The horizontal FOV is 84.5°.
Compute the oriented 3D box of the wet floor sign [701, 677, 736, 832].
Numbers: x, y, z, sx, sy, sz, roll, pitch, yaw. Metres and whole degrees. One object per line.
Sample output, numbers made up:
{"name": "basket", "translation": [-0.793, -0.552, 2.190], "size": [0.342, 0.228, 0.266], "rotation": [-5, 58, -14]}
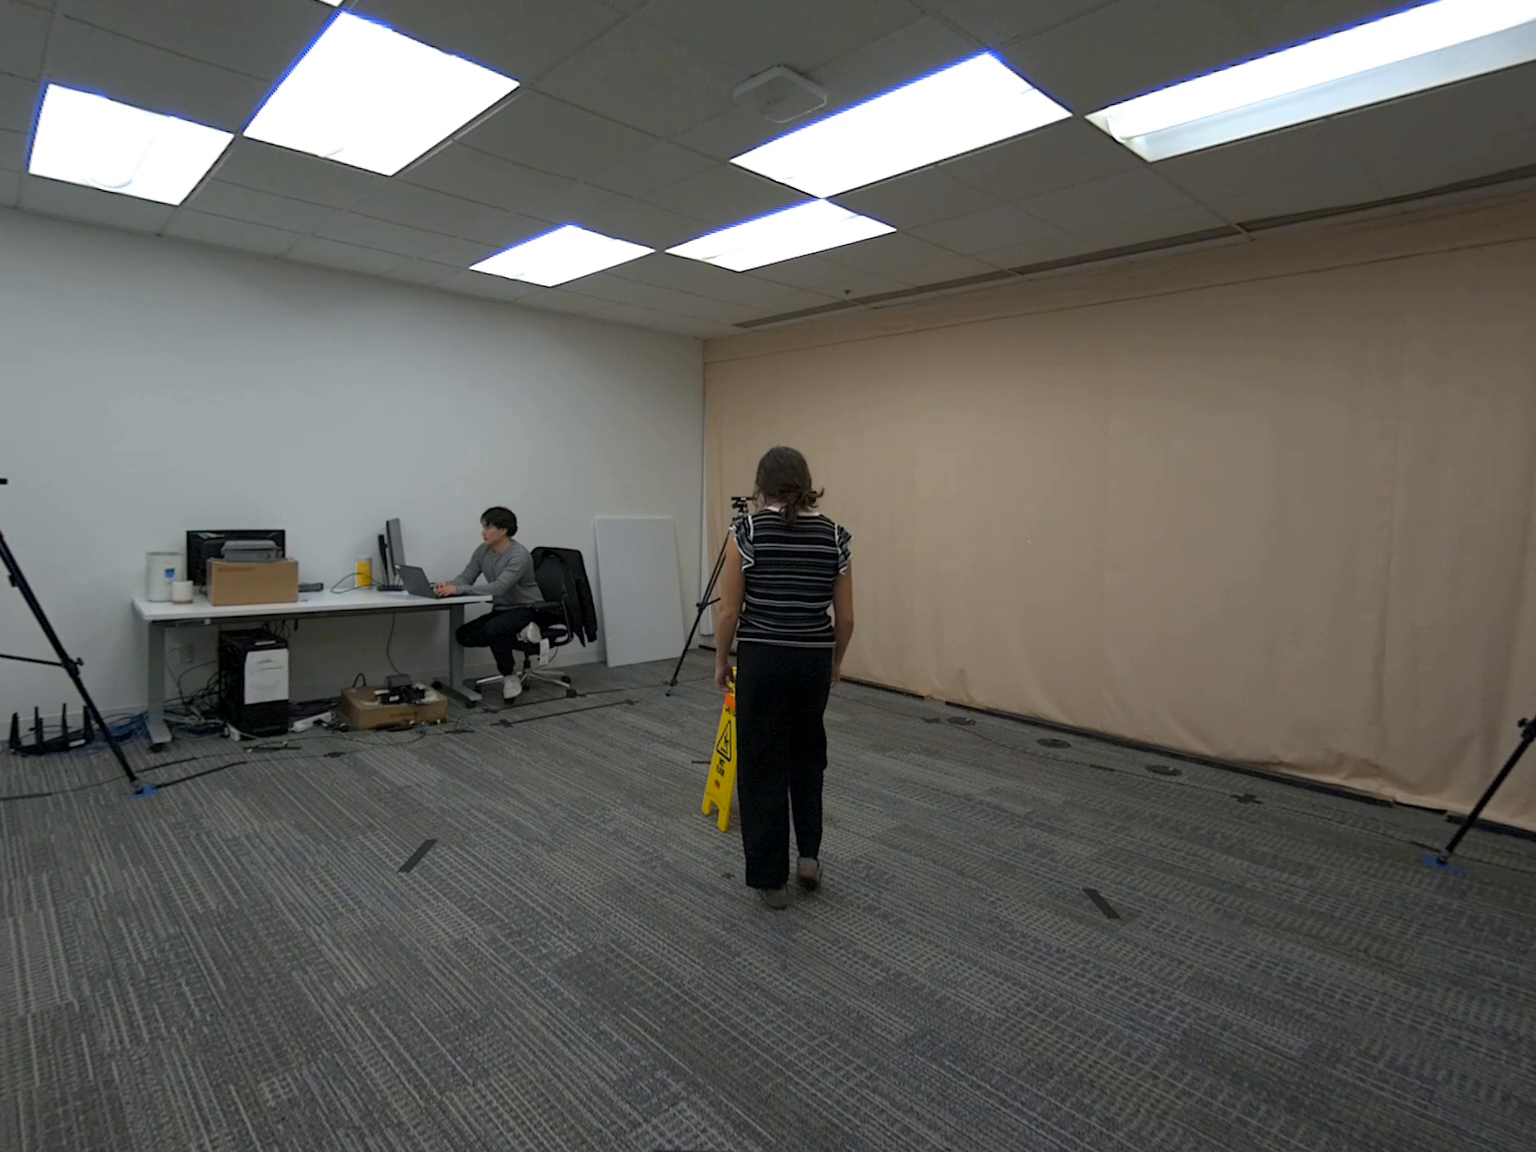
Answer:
{"name": "wet floor sign", "translation": [-0.126, 0.736, 3.669], "size": [0.285, 0.645, 0.287], "rotation": [1, 3, -21]}
